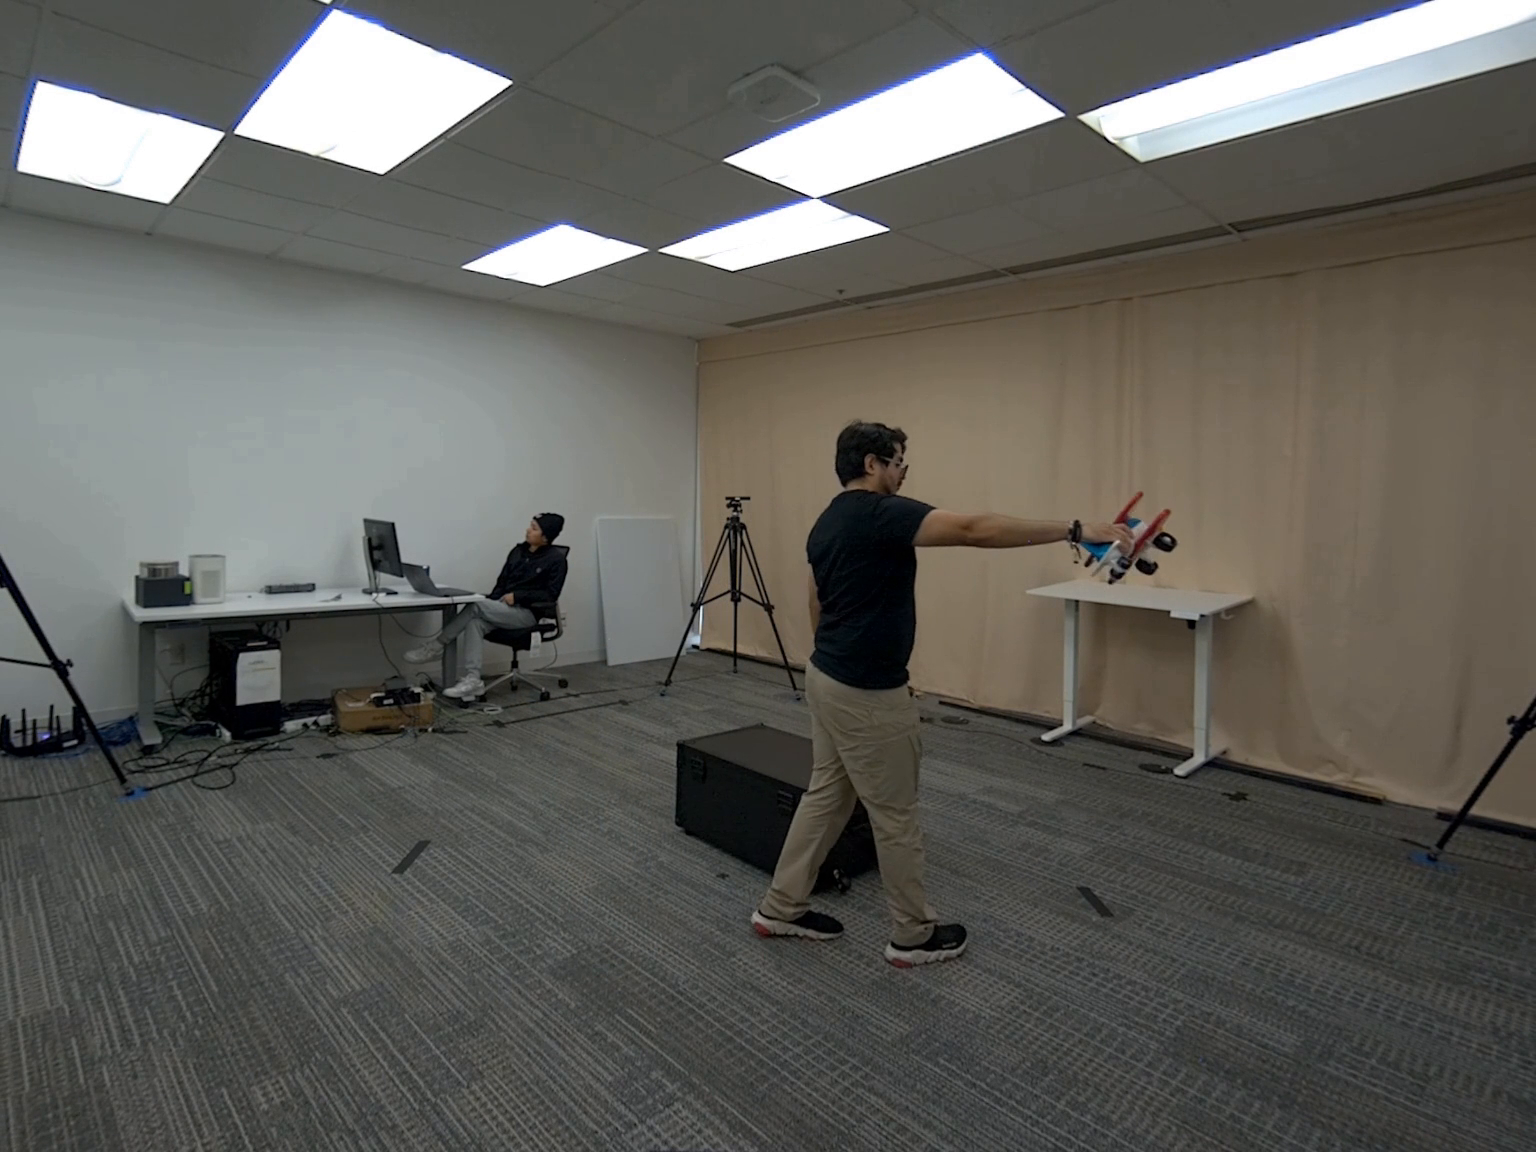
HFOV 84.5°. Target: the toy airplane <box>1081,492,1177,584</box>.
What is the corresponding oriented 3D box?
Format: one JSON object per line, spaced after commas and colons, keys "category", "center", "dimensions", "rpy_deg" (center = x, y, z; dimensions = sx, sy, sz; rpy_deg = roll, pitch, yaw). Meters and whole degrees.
{"category": "toy airplane", "center": [0.943, -0.094, 2.190], "dimensions": [0.252, 0.251, 0.161], "rpy_deg": [19, 27, -53]}
